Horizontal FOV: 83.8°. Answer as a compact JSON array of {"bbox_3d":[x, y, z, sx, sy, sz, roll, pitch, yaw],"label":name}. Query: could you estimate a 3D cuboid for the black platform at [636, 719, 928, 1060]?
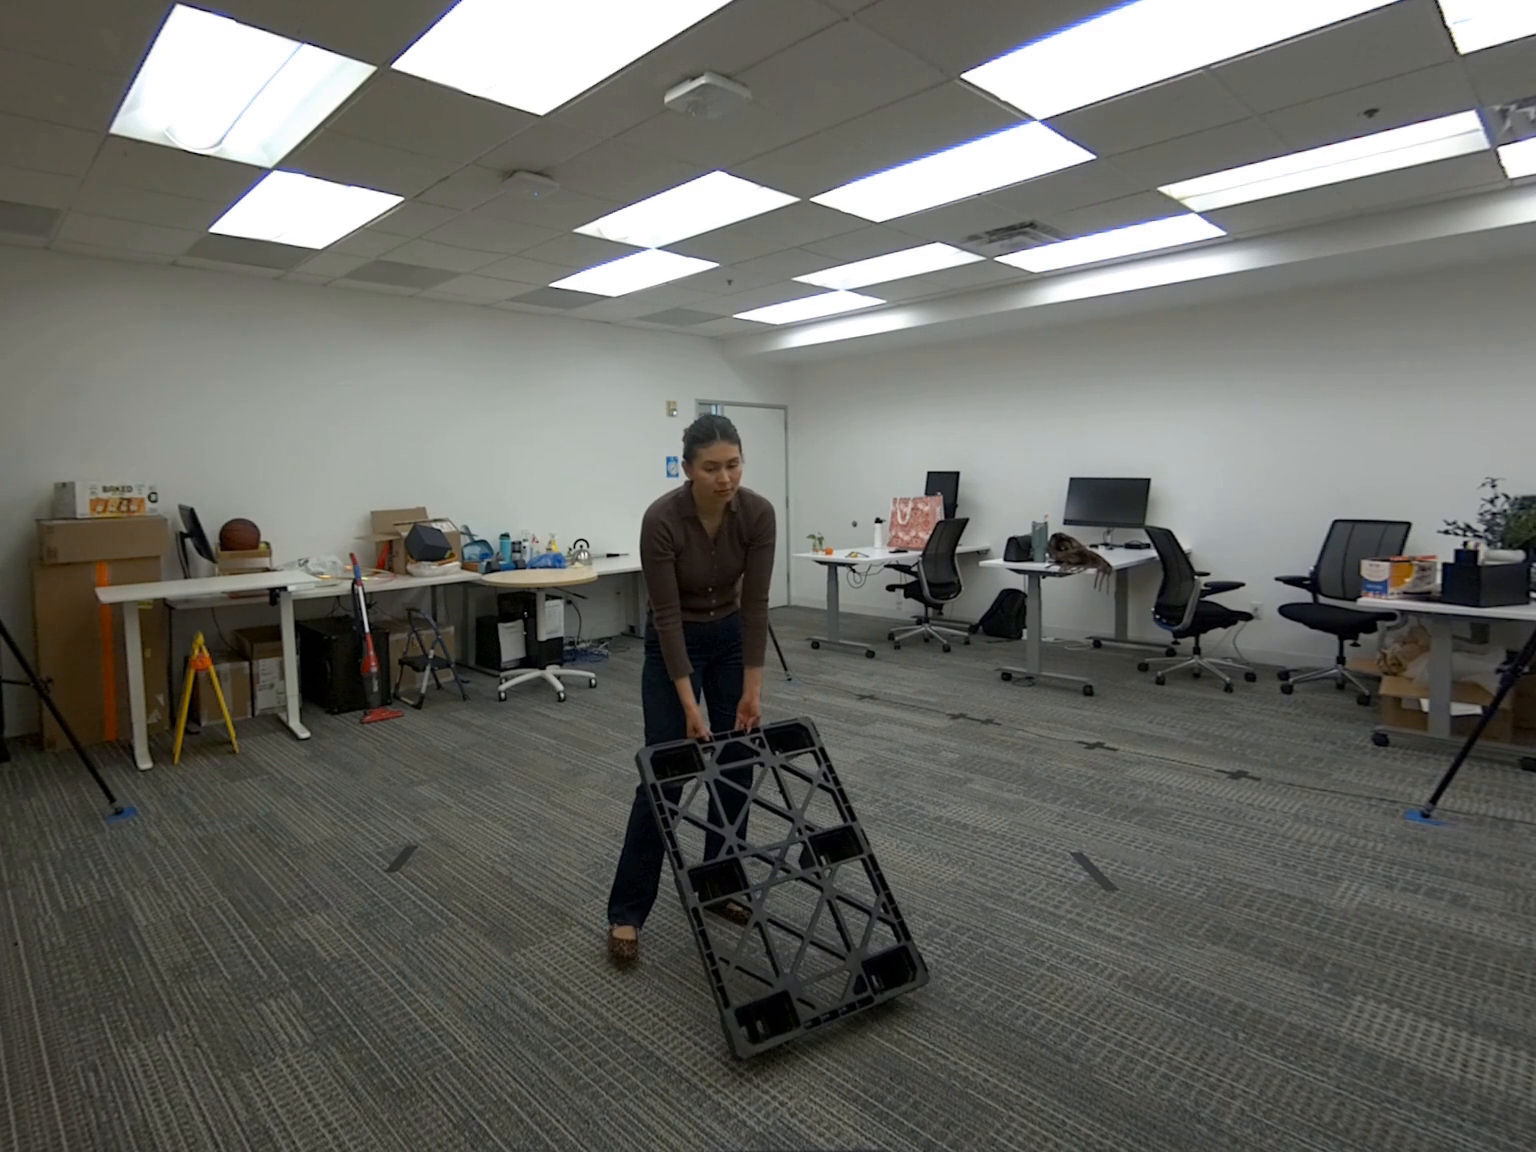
[{"bbox_3d":[0.018,0.810,2.368,0.591,0.832,0.142,-4,-37,-30],"label":"black platform"}]
